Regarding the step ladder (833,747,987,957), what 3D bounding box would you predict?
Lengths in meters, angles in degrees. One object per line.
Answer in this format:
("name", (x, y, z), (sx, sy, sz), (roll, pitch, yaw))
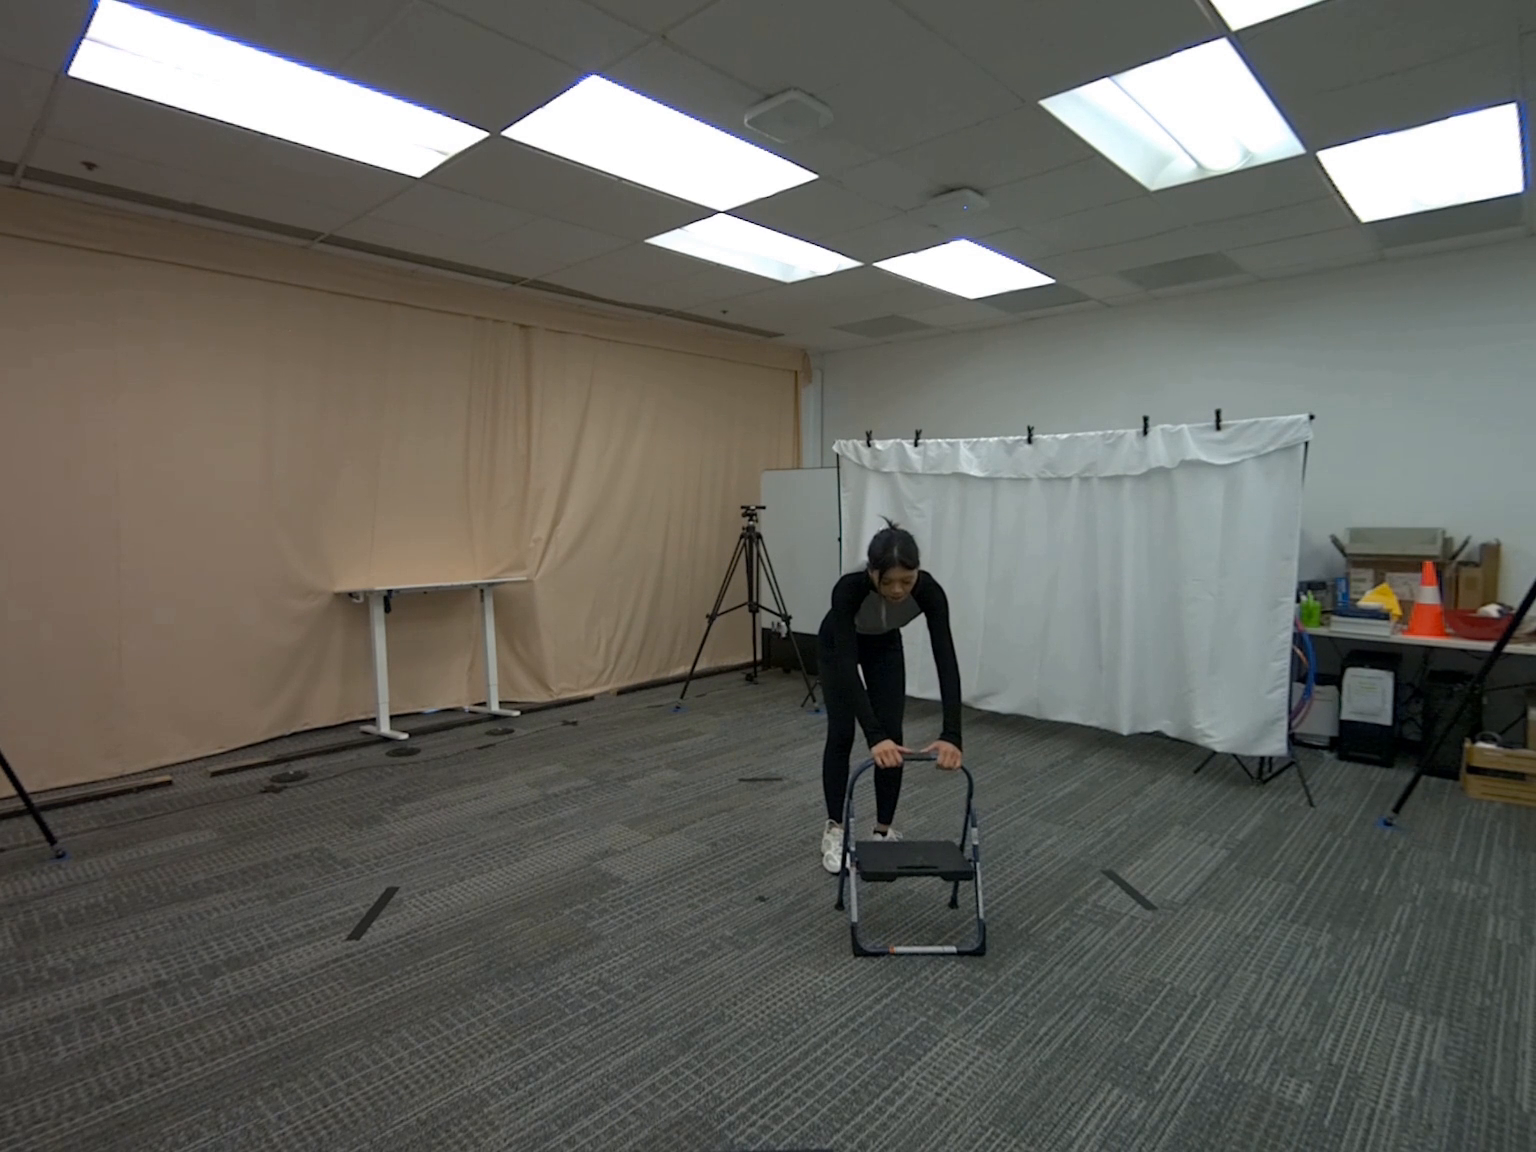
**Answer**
("step ladder", (0.459, 0.857, 2.752), (0.429, 0.605, 0.351), (0, 3, -3))
